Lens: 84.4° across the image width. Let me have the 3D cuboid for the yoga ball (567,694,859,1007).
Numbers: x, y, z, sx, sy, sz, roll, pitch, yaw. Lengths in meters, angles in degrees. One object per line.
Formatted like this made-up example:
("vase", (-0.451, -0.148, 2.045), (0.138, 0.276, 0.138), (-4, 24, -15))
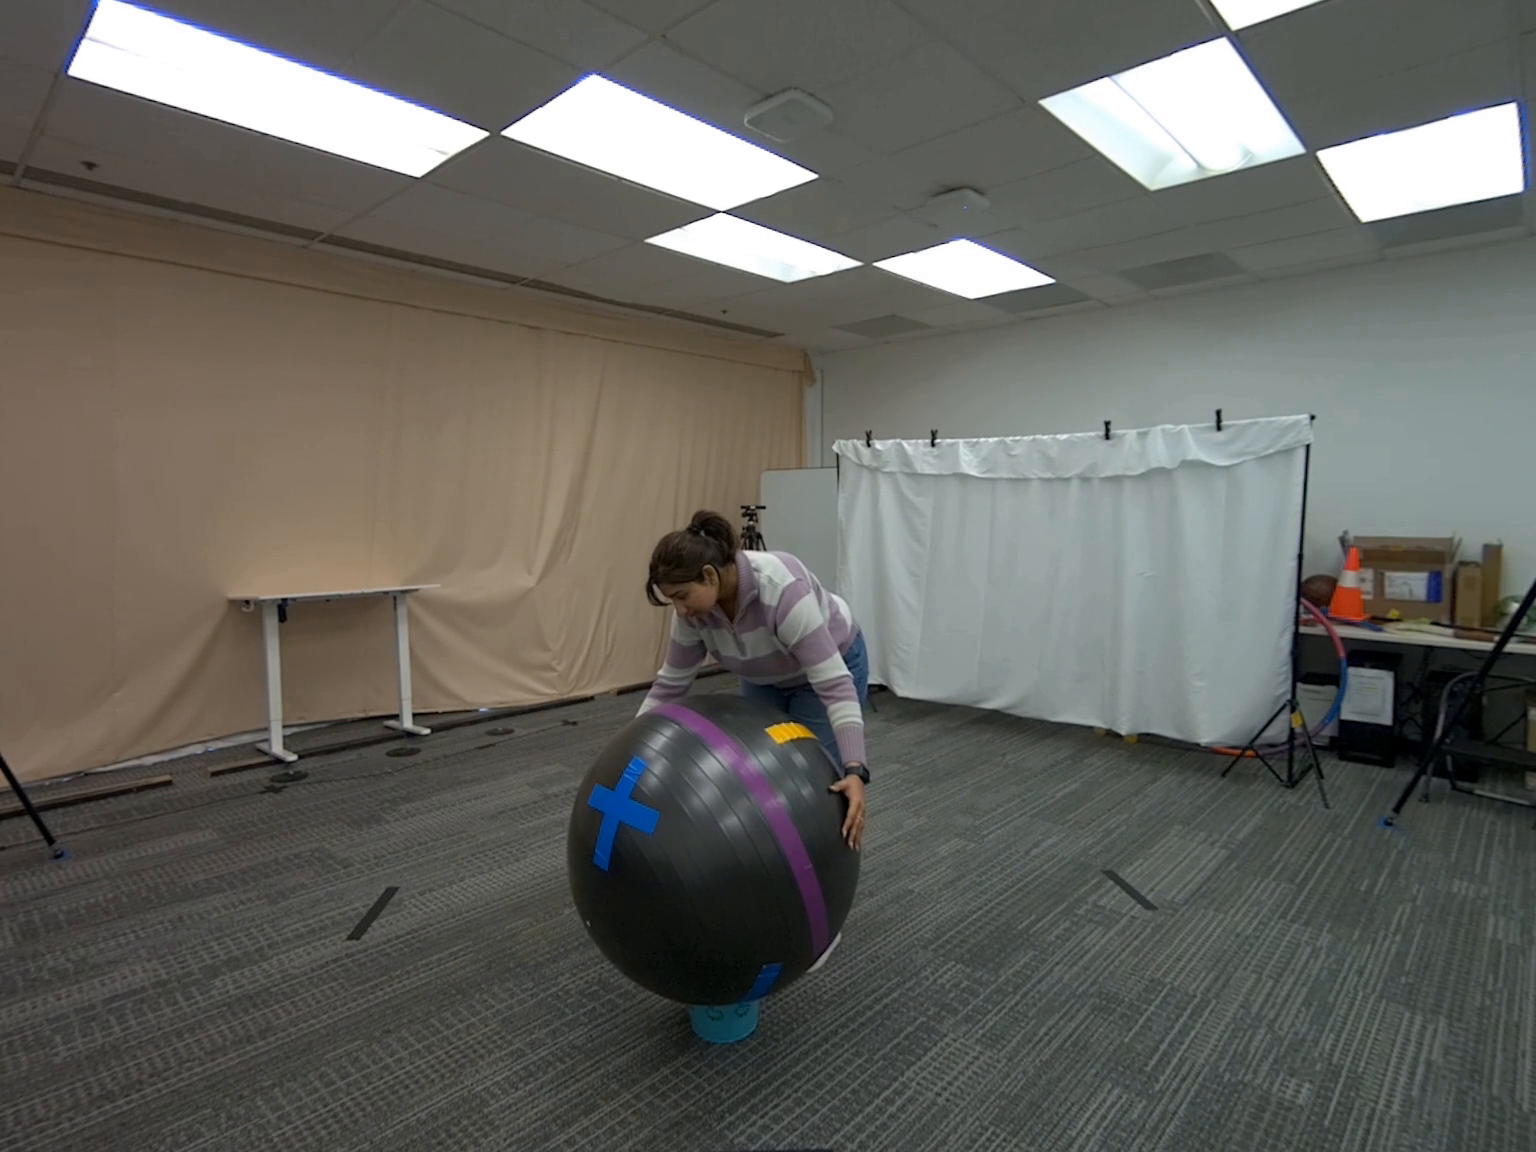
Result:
("yoga ball", (-0.146, 0.699, 2.184), (0.757, 0.756, 0.761), (0, 4, -2))
